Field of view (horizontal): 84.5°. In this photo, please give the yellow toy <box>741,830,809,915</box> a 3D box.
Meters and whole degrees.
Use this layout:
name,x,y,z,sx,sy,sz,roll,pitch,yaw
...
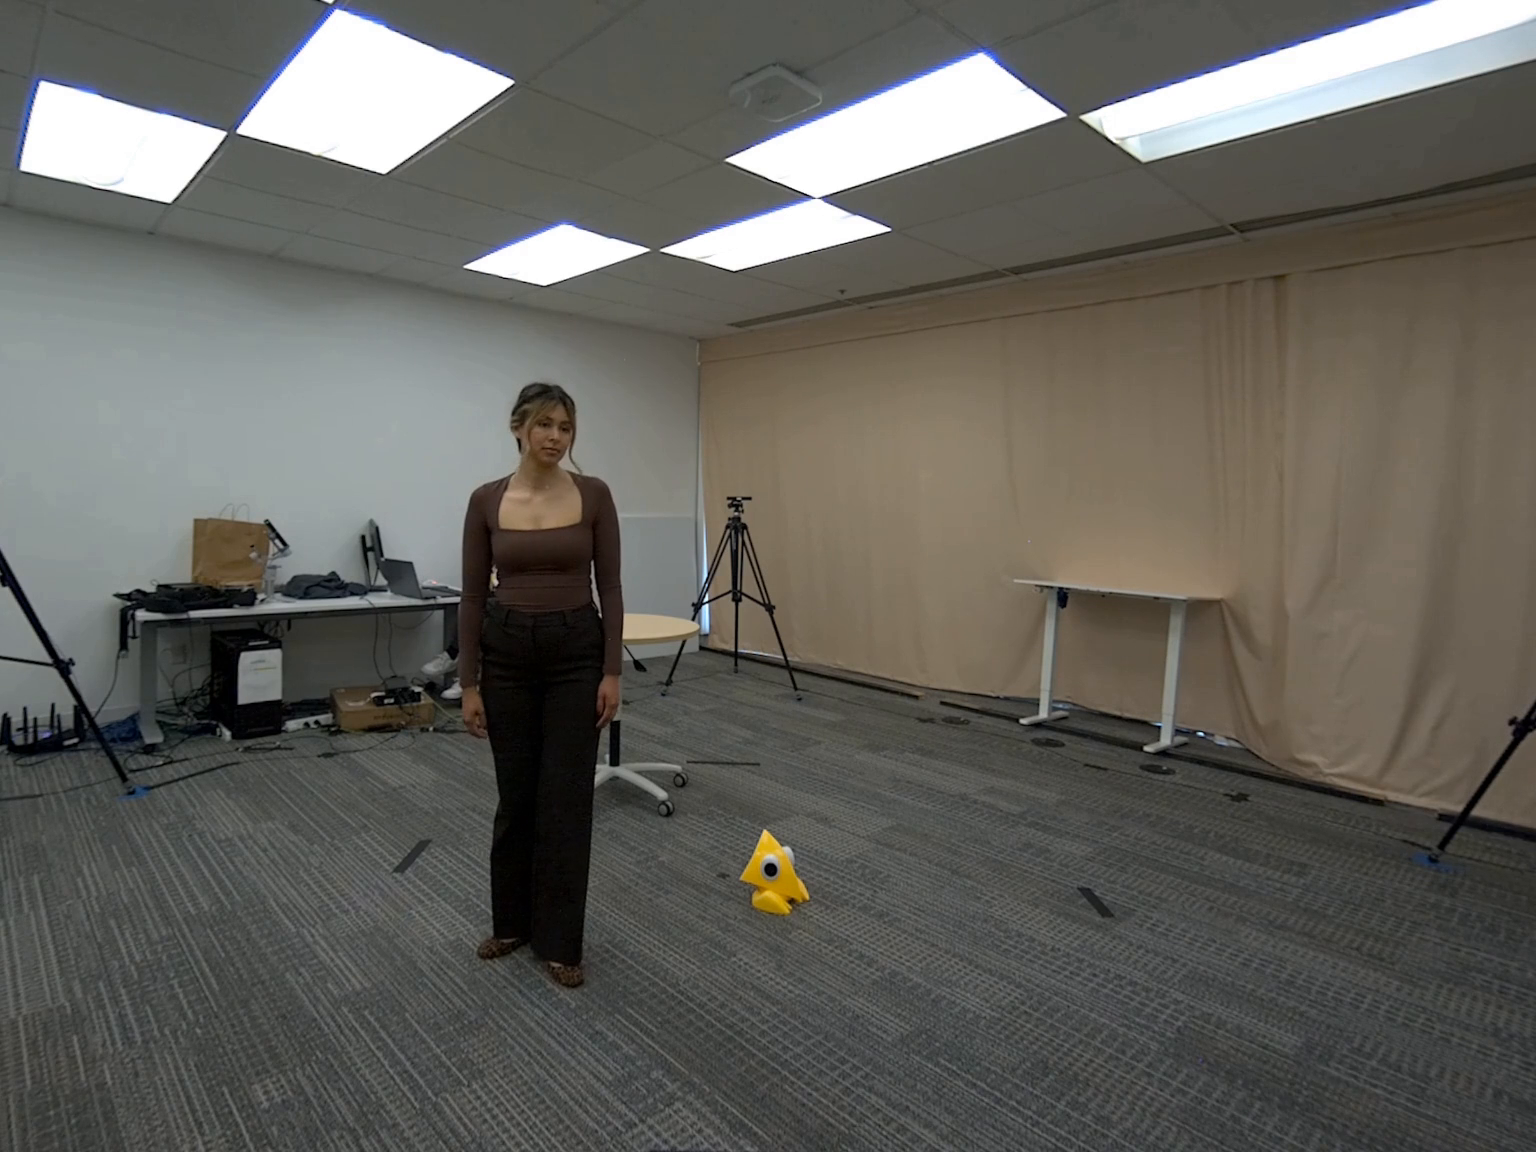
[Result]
name,x,y,z,sx,sy,sz,roll,pitch,yaw
yellow toy,0.030,1.018,2.924,0.198,0.230,0.200,5,5,36
